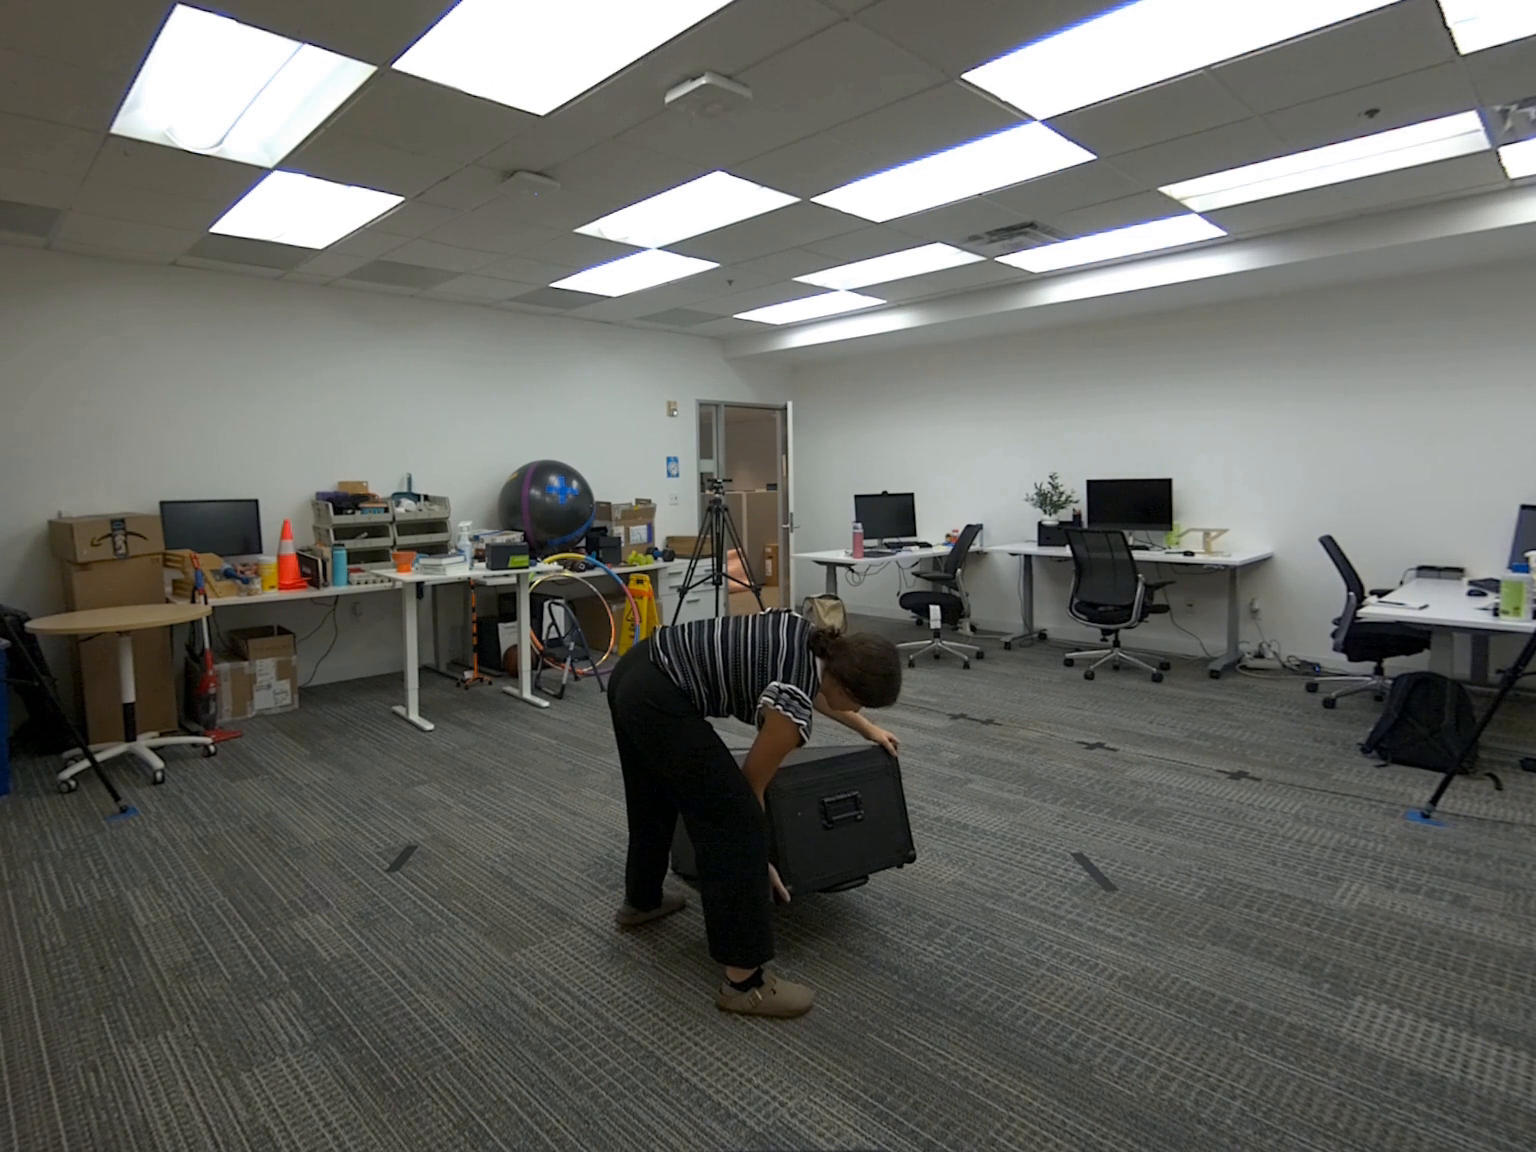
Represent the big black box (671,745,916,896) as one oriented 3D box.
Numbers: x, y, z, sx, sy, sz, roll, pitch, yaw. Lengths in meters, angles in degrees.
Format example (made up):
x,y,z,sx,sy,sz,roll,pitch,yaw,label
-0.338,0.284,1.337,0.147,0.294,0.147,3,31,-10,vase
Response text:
x,y,z,sx,sy,sz,roll,pitch,yaw,label
0.023,0.805,2.892,0.509,0.400,0.874,-5,-8,-31,big black box
